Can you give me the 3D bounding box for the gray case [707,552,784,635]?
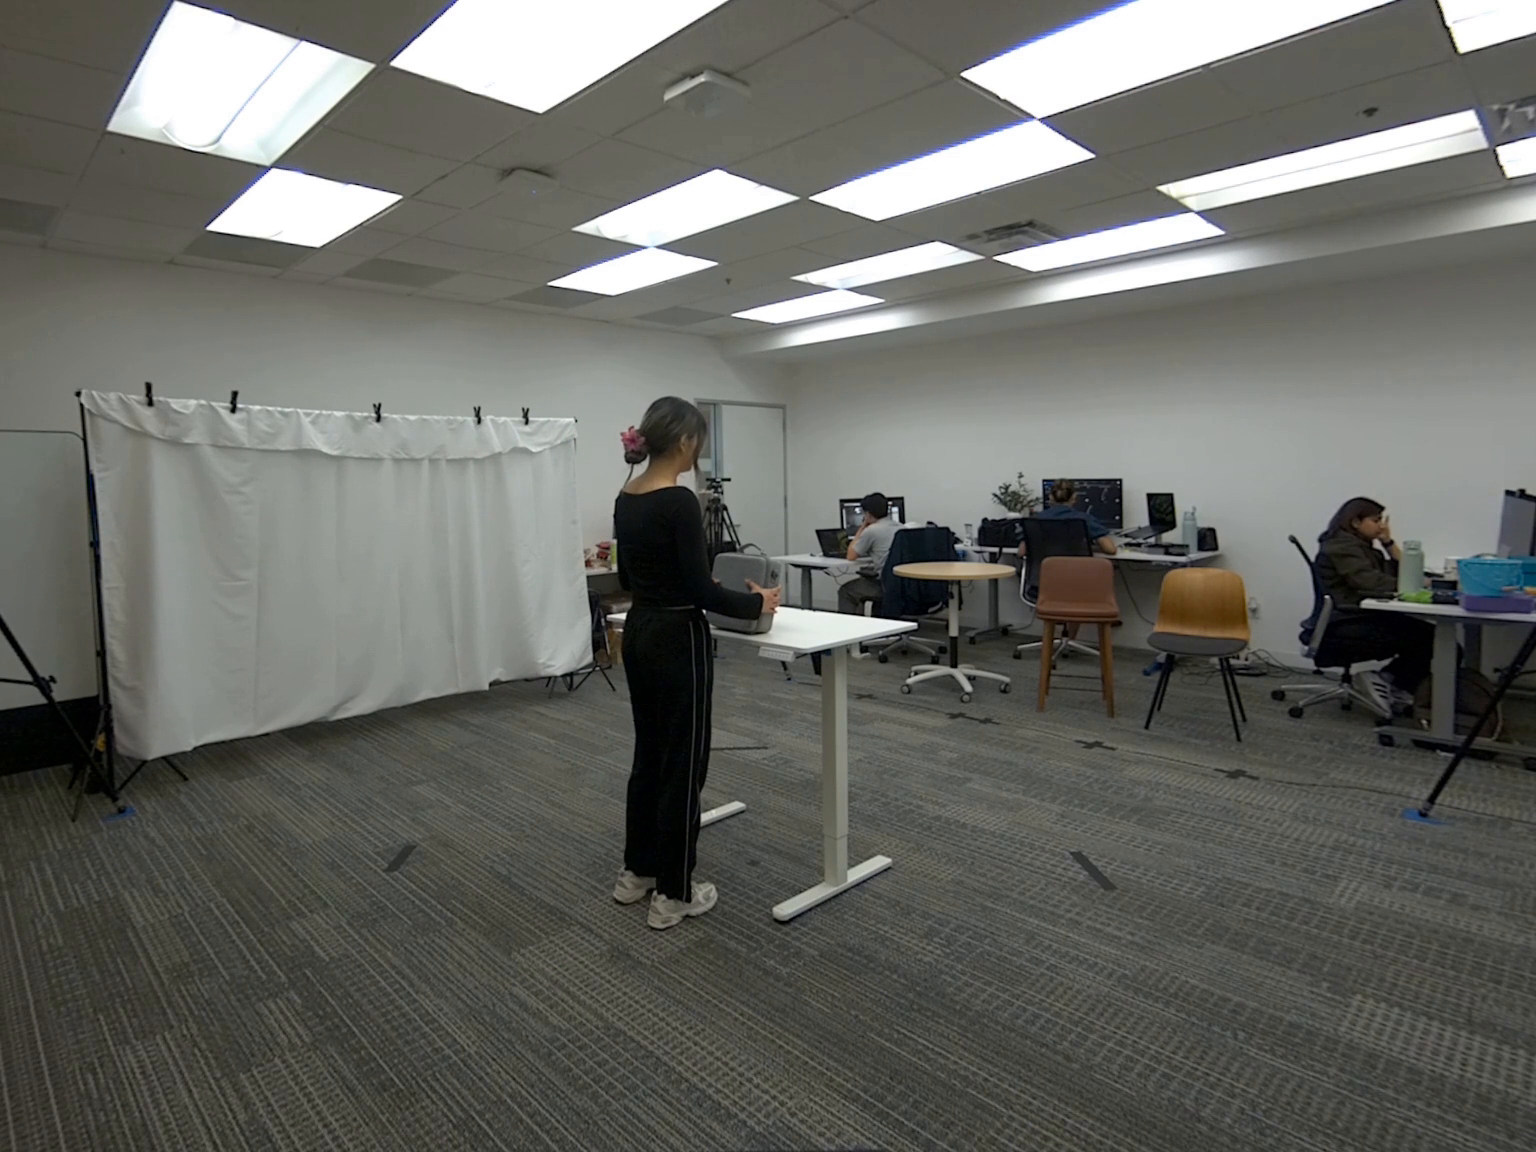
[{"bbox_3d":[-0.090,0.052,2.884,0.101,0.261,0.264,12,-5,-38],"label":"gray case"}]
